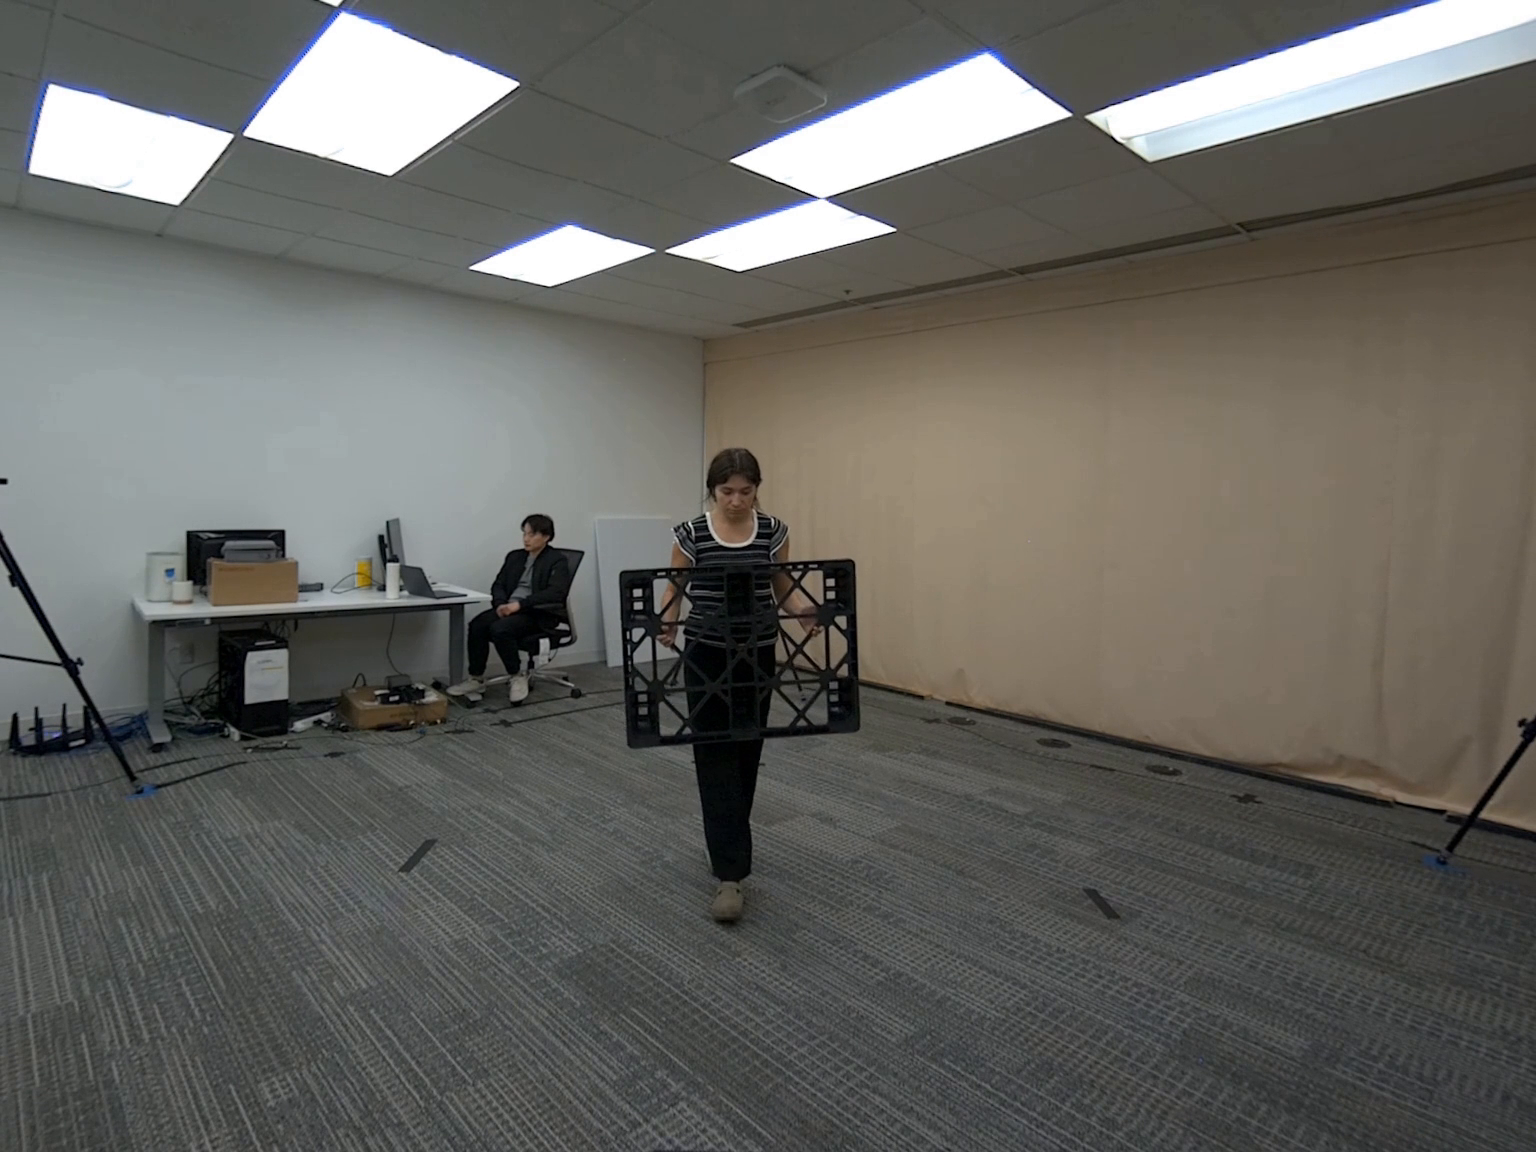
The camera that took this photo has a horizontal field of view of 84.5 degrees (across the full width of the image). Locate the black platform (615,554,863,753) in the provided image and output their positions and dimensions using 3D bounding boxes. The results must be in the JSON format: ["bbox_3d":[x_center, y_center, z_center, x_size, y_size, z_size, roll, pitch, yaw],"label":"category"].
[{"bbox_3d":[-0.099,0.252,2.883,0.801,0.603,0.144,-3,4,-7],"label":"black platform"}]
